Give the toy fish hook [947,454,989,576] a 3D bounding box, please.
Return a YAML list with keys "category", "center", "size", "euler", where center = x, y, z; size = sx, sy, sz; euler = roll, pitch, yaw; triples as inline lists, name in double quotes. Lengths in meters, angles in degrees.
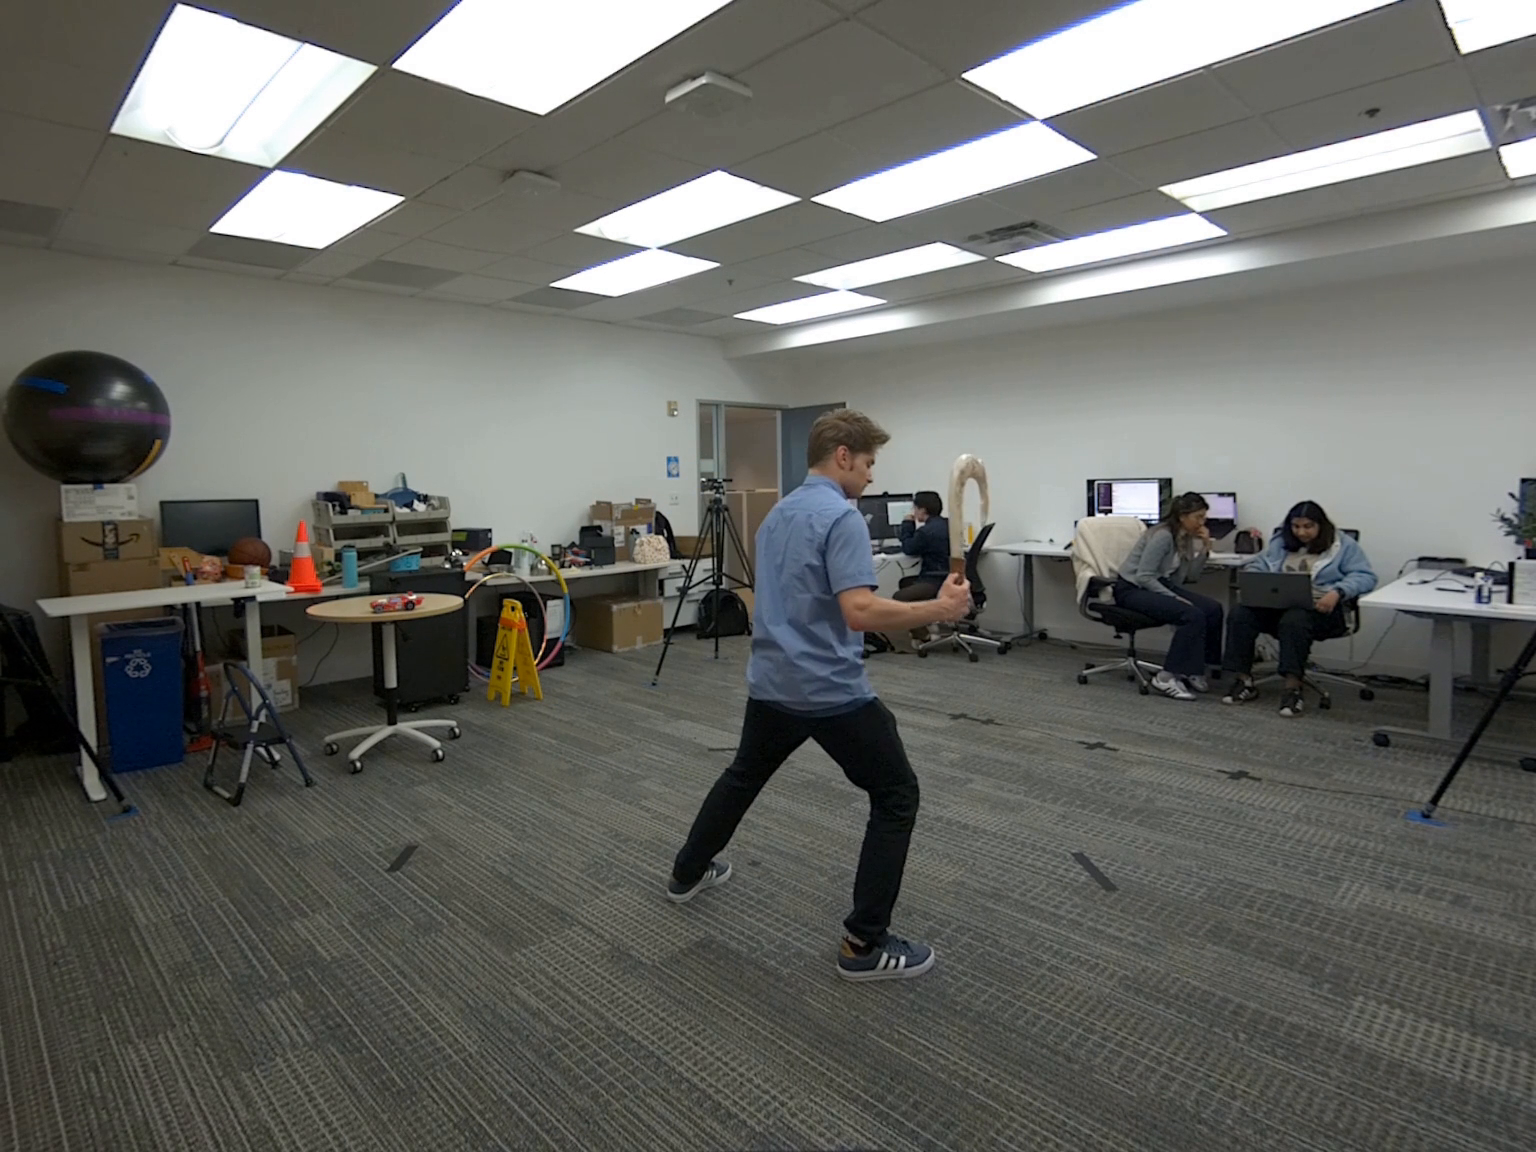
- category: "toy fish hook"
  center: [0.575, -0.100, 2.486]
  size: [0.217, 0.509, 0.050]
  euler: [14, -10, -43]
